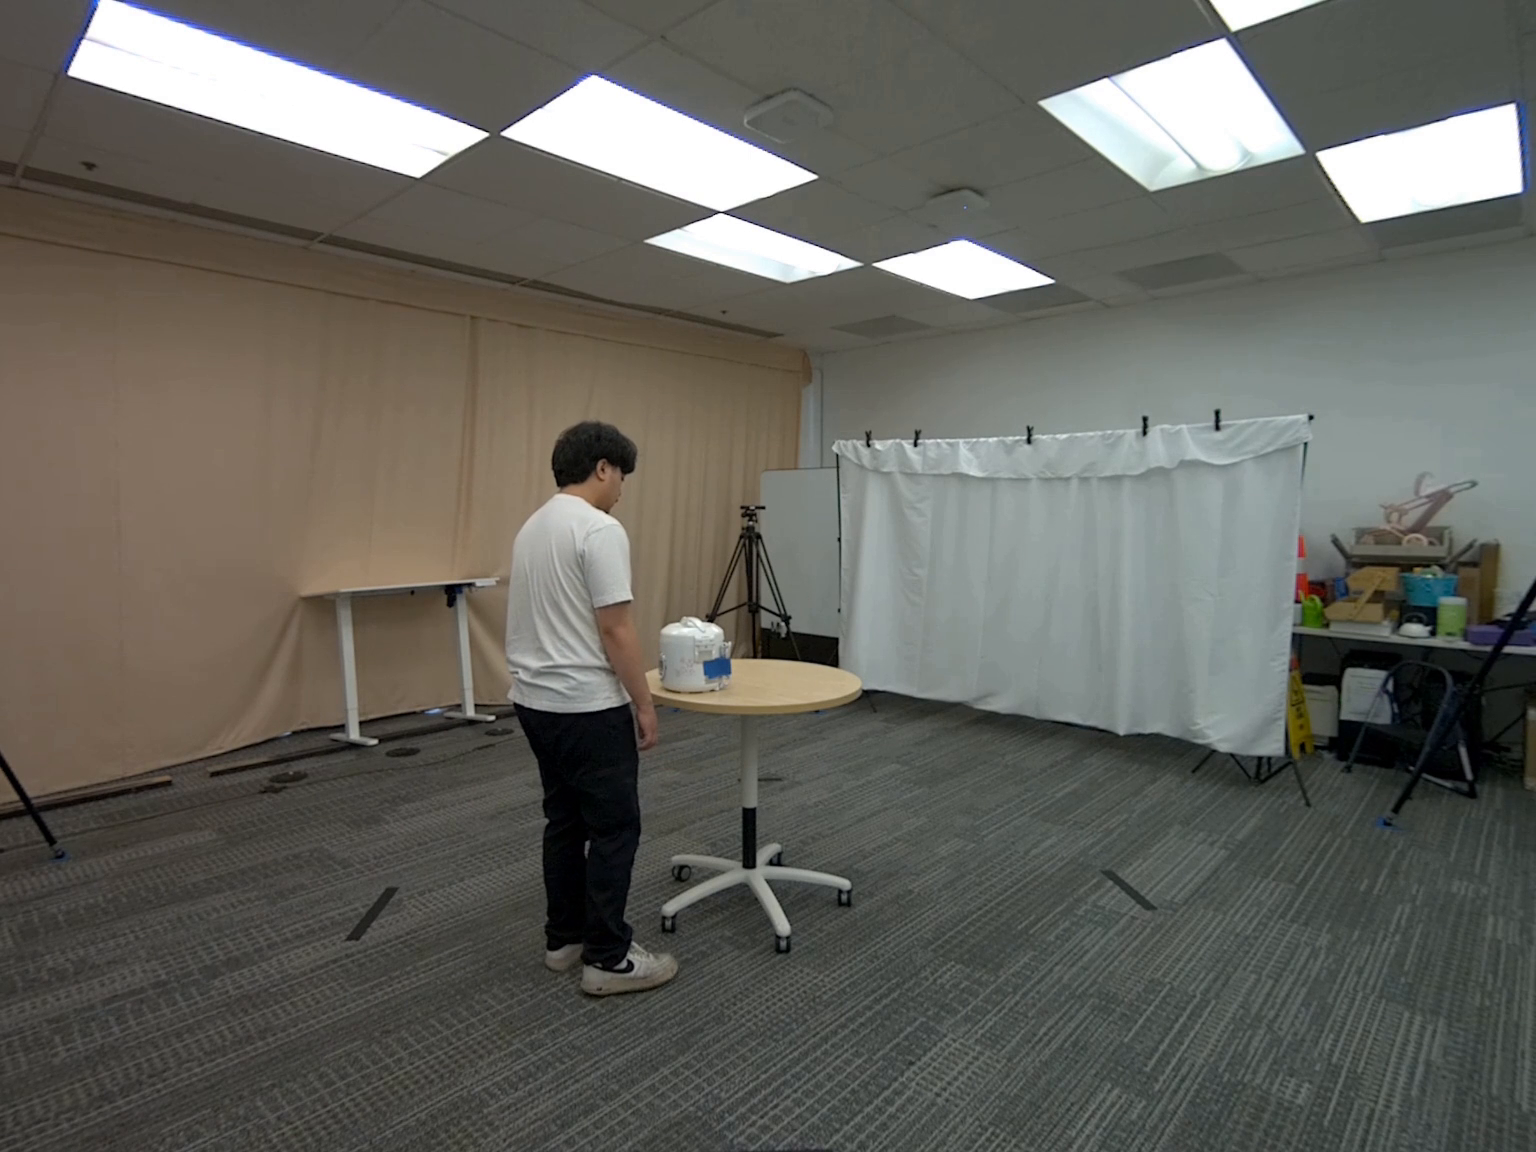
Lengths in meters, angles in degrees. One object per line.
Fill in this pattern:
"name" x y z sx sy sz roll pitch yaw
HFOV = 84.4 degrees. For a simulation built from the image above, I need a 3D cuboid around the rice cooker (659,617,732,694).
"rice cooker" -0.243 0.252 2.745 0.212 0.232 0.226 -1 3 -26
